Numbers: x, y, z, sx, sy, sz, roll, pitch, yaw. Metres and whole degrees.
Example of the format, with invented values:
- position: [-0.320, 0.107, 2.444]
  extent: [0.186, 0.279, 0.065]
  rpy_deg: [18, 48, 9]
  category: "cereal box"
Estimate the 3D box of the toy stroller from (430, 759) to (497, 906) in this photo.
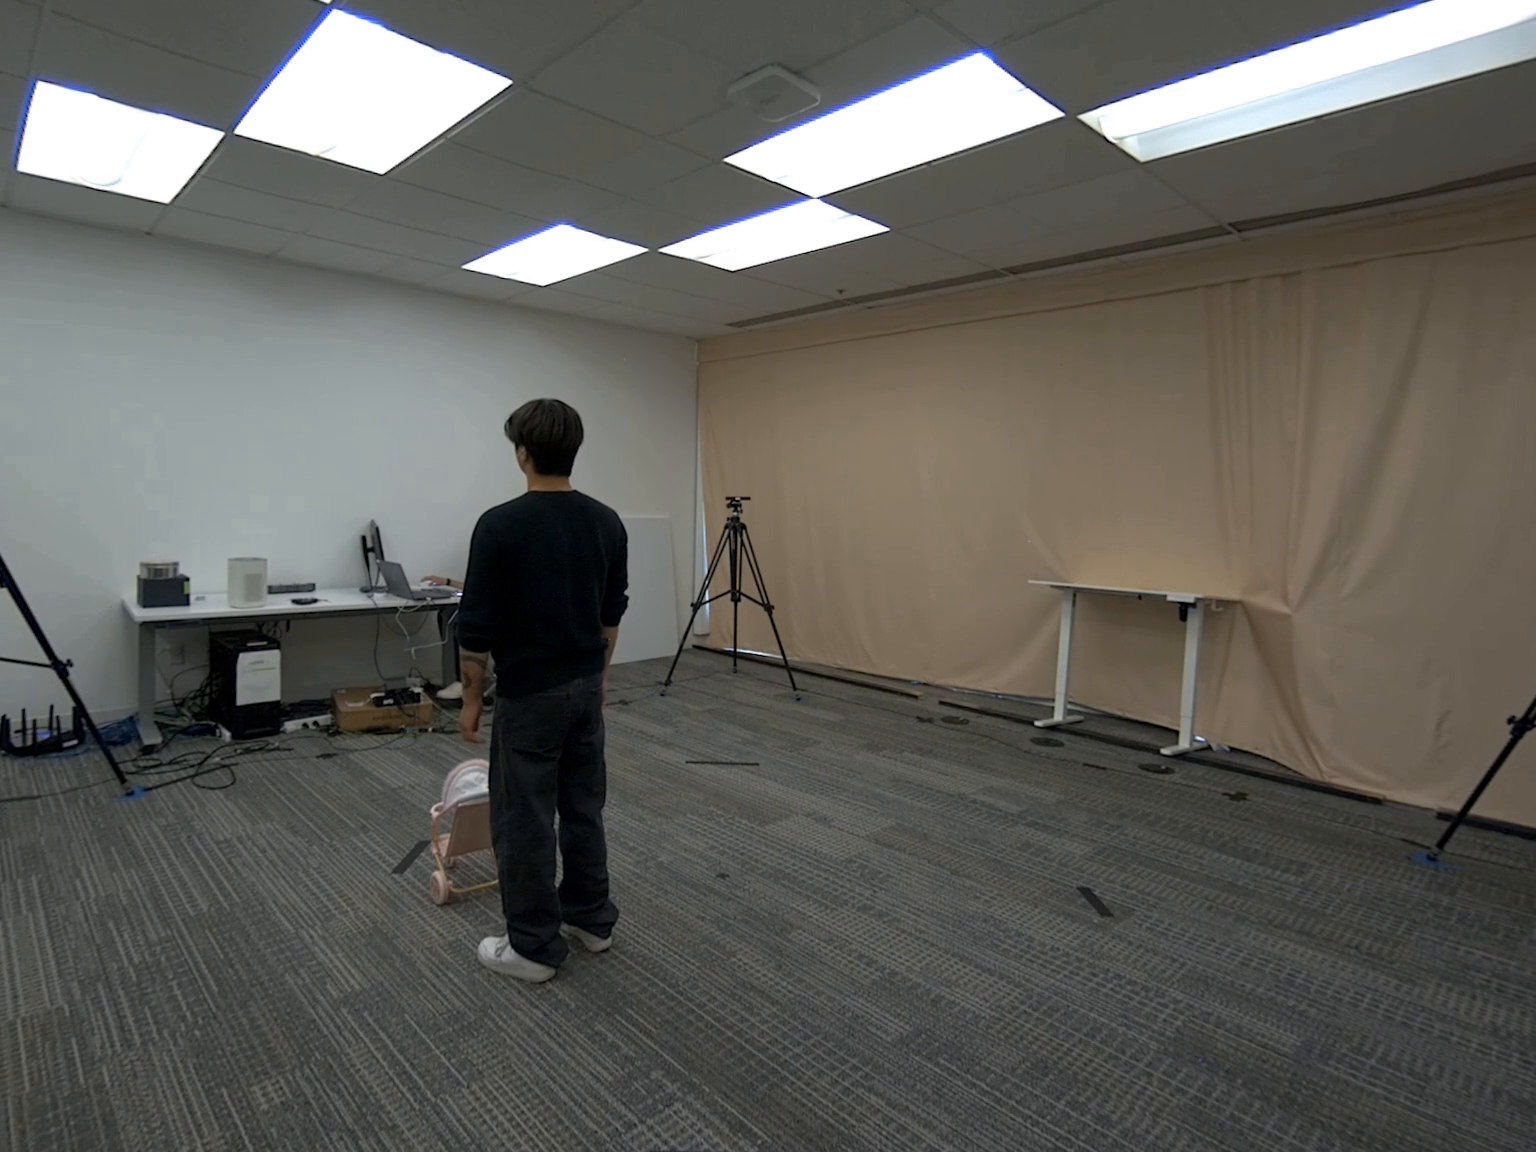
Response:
- position: [-1.056, 0.880, 2.959]
  extent: [0.275, 0.529, 0.352]
  rpy_deg: [-1, 23, -34]
  category: "toy stroller"
